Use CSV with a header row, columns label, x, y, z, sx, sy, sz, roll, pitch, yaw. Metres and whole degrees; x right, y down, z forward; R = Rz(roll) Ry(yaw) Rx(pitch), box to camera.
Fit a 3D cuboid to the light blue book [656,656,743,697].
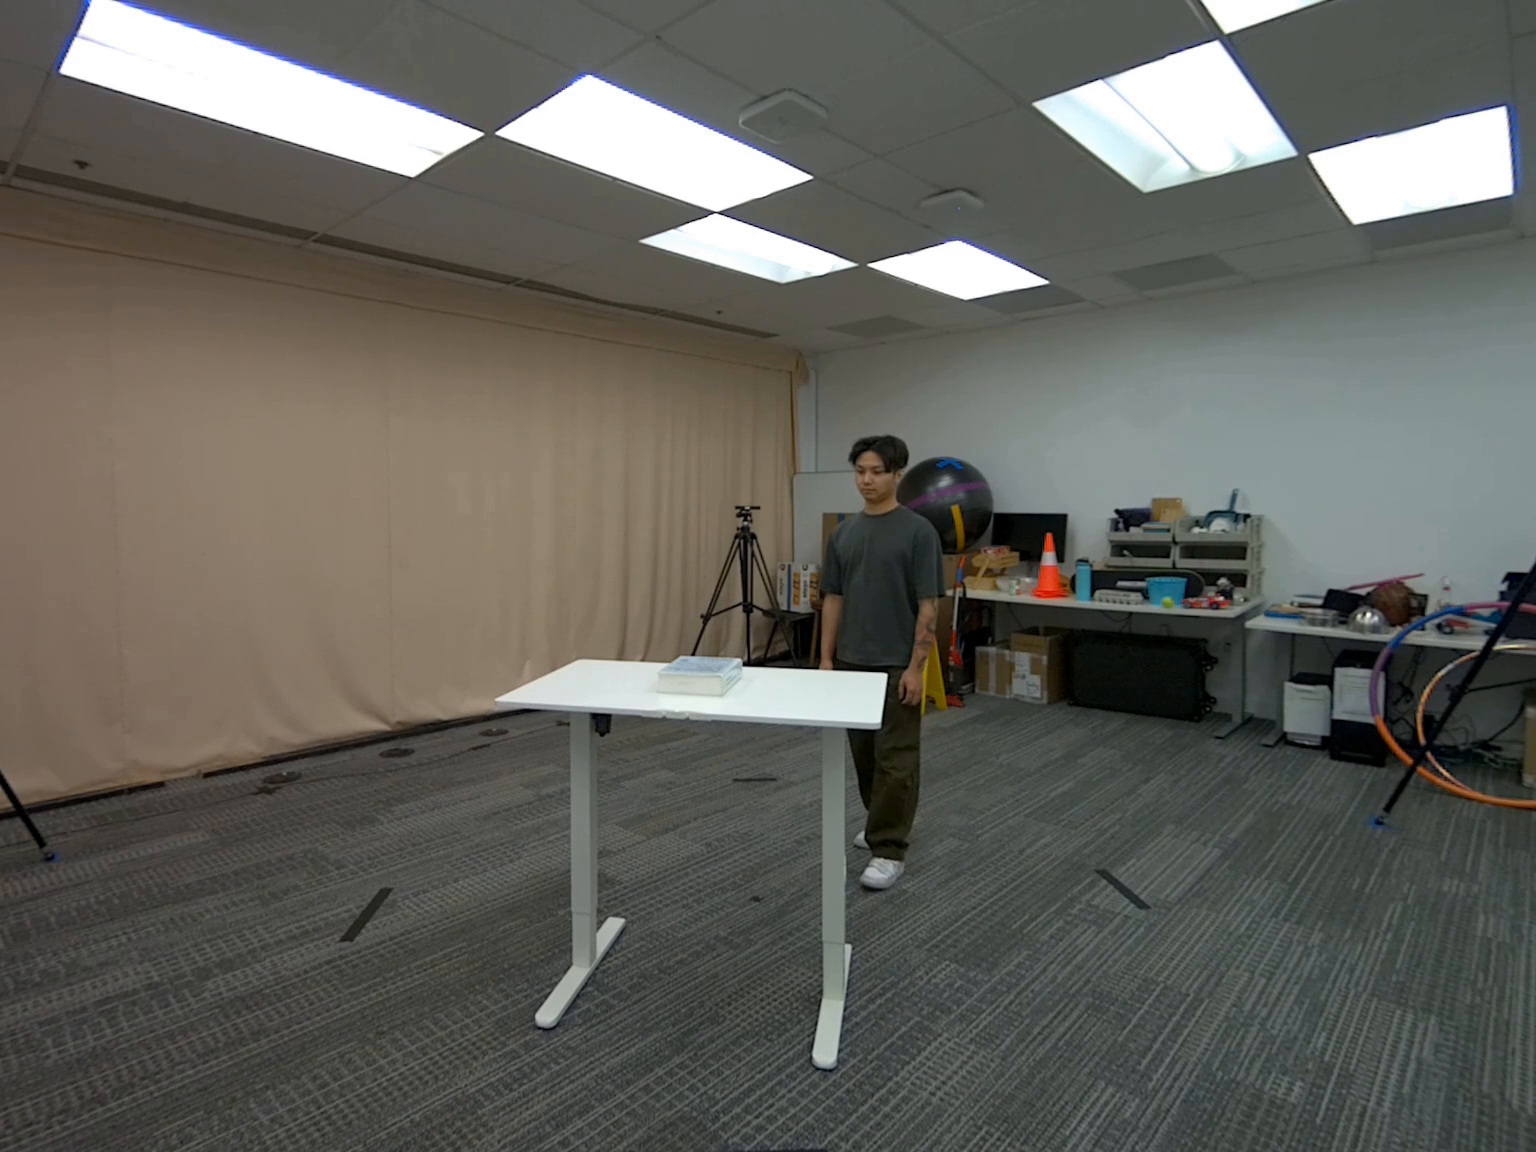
label,x,y,z,sx,sy,sz,roll,pitch,yaw
light blue book,-0.187,0.284,2.397,0.193,0.059,0.259,0,4,9
